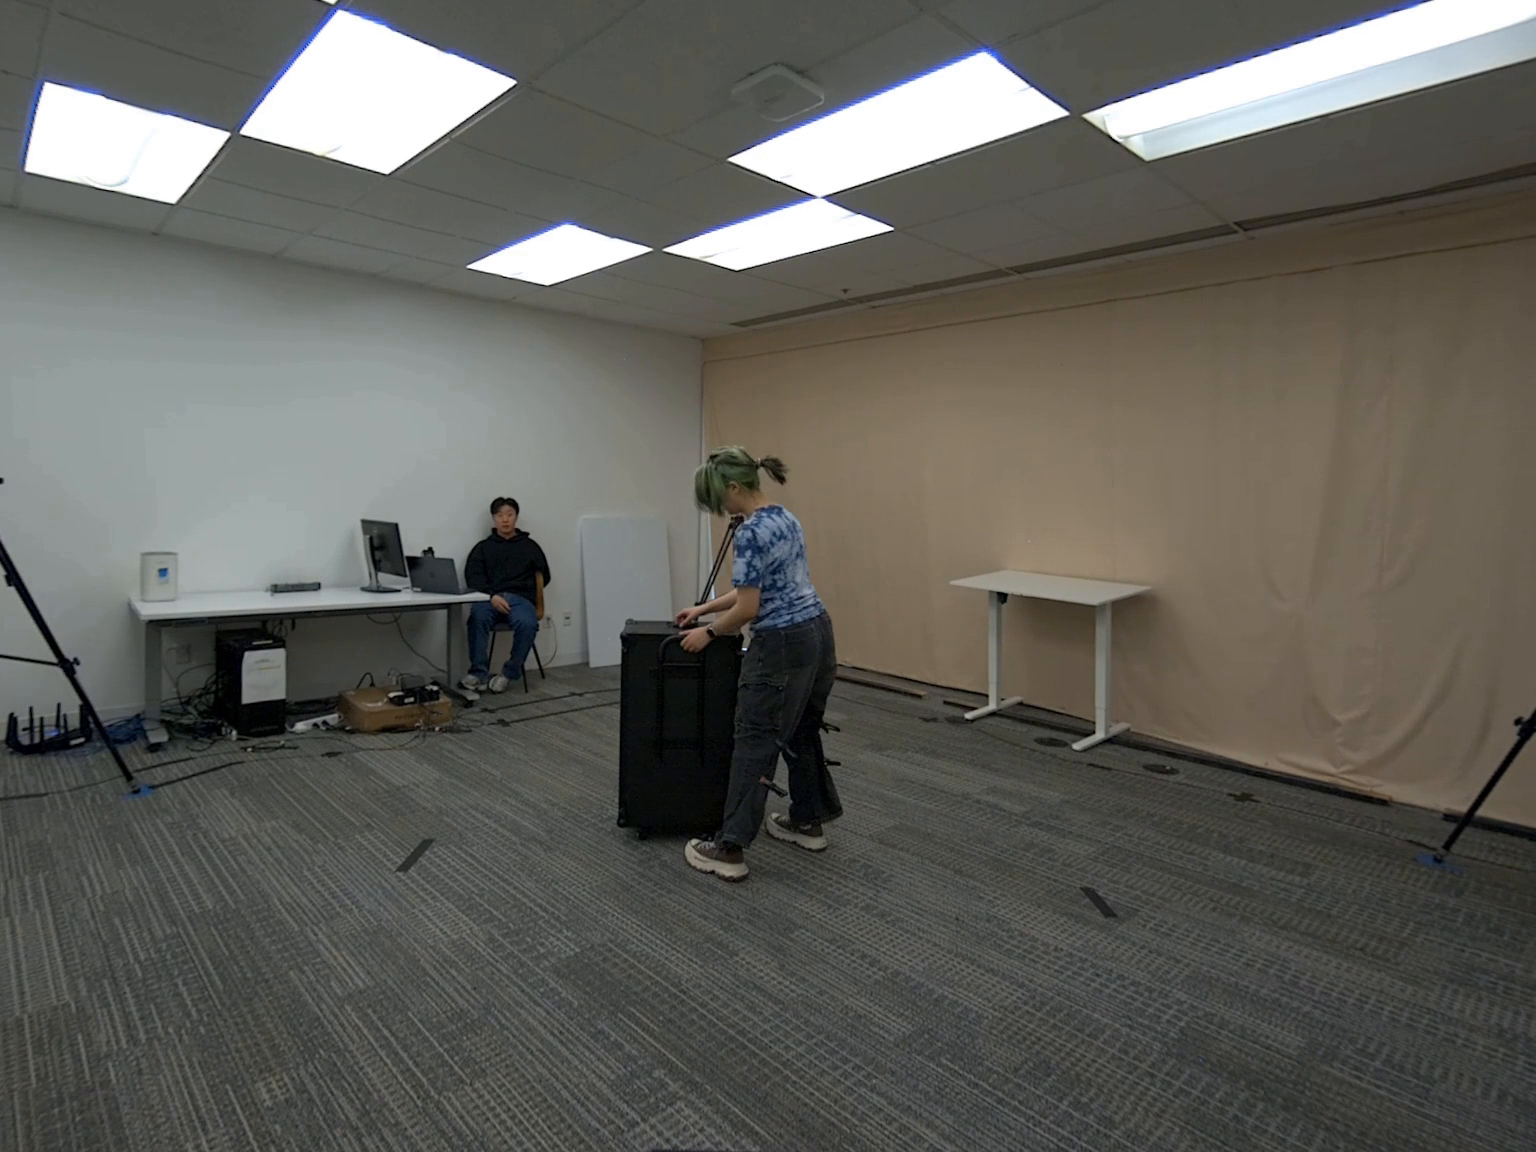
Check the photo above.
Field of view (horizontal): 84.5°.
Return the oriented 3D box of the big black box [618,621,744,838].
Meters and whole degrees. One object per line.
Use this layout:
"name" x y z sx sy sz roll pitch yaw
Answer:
"big black box" -0.374 0.641 3.515 0.519 0.859 0.398 1 3 -4
